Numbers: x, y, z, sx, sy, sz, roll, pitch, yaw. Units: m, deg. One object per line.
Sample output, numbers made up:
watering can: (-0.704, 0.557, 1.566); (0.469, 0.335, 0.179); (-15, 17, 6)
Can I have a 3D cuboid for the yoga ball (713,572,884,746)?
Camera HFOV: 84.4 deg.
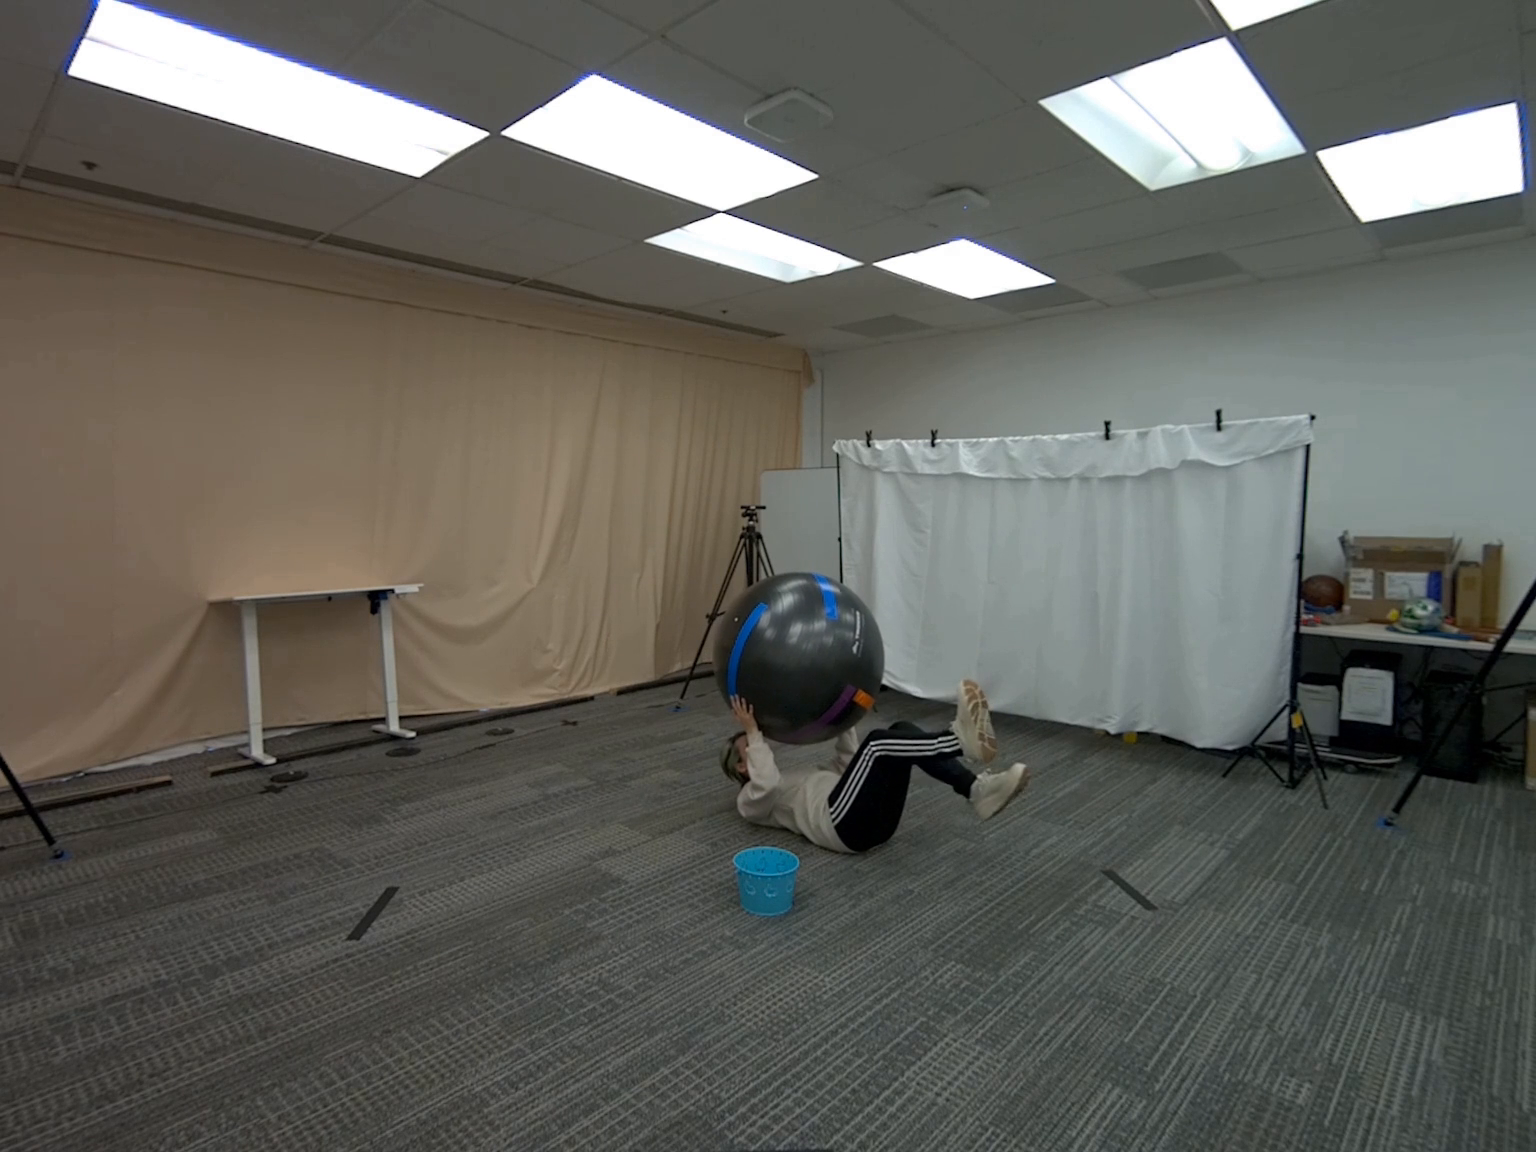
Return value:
yoga ball: (0.137, 0.362, 3.735); (0.757, 0.756, 0.760); (0, 4, -2)
